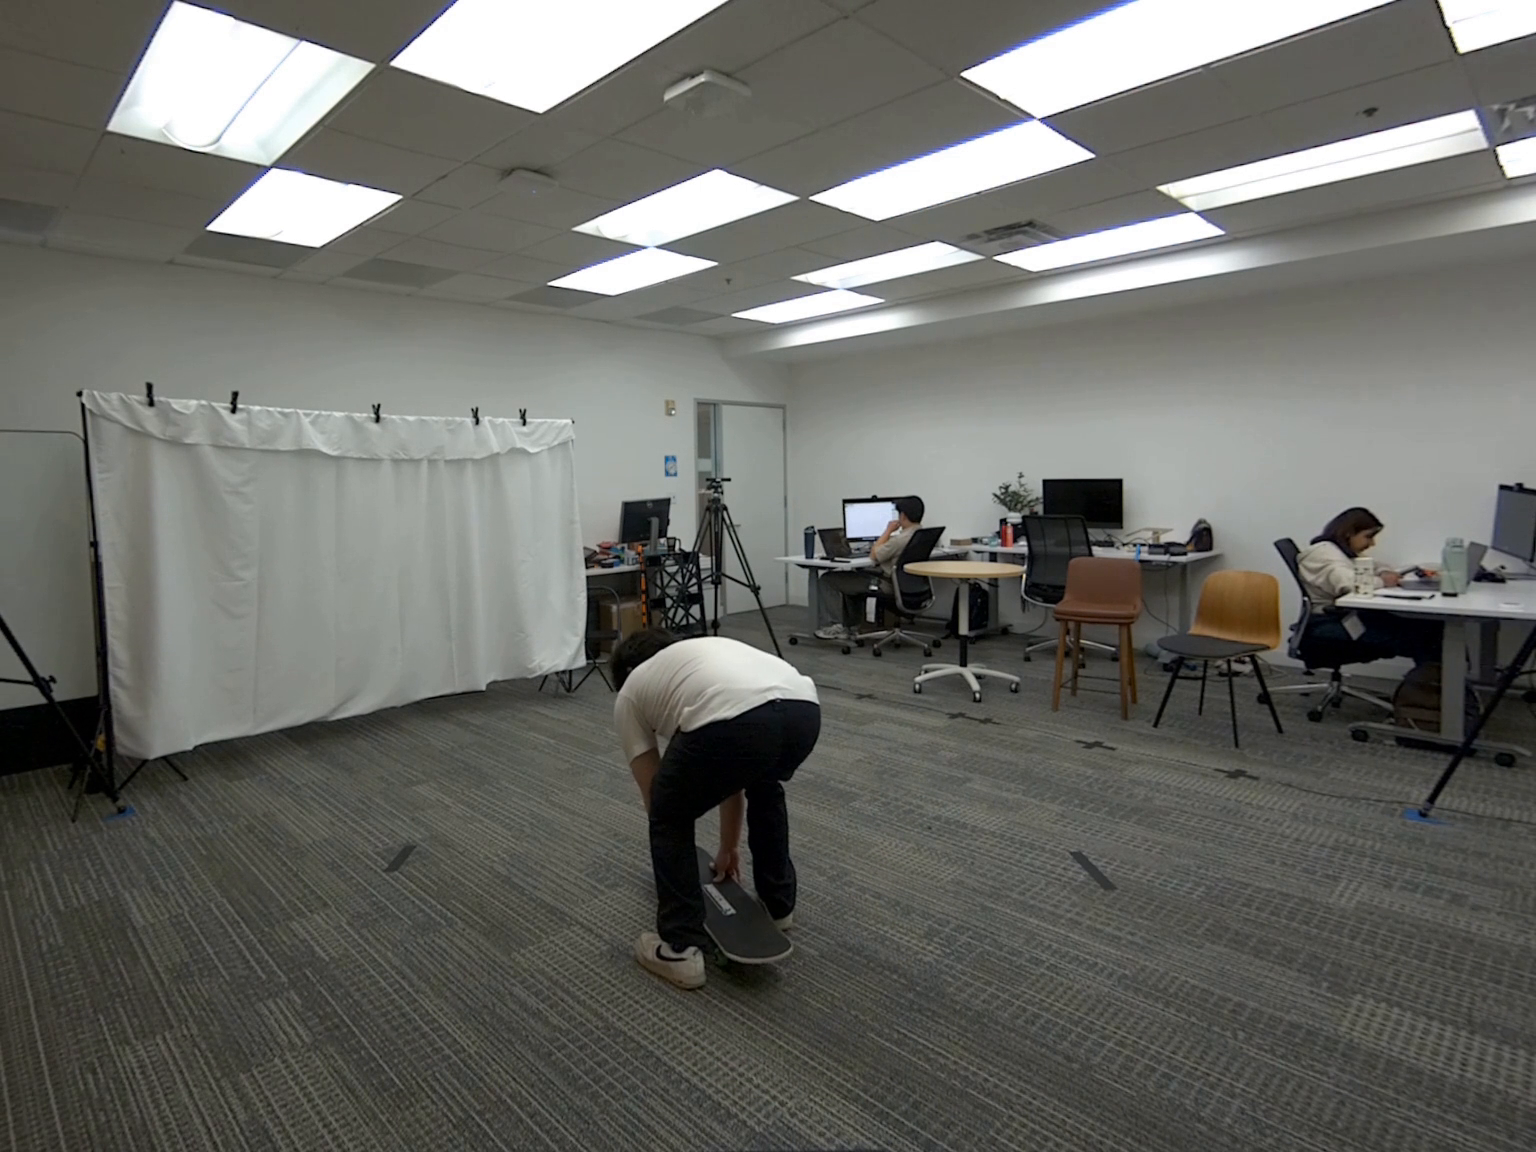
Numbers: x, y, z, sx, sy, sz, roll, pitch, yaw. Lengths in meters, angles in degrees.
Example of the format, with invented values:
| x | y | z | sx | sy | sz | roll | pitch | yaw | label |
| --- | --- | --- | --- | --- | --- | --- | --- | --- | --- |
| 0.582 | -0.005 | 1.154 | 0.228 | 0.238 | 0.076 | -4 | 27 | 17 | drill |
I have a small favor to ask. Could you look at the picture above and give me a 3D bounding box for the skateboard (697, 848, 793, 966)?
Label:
| x | y | z | sx | sy | sz | roll | pitch | yaw | label |
| --- | --- | --- | --- | --- | --- | --- | --- | --- | --- |
| -0.140 | 1.047 | 2.668 | 0.189 | 0.110 | 0.805 | -4 | 8 | -25 | skateboard |
